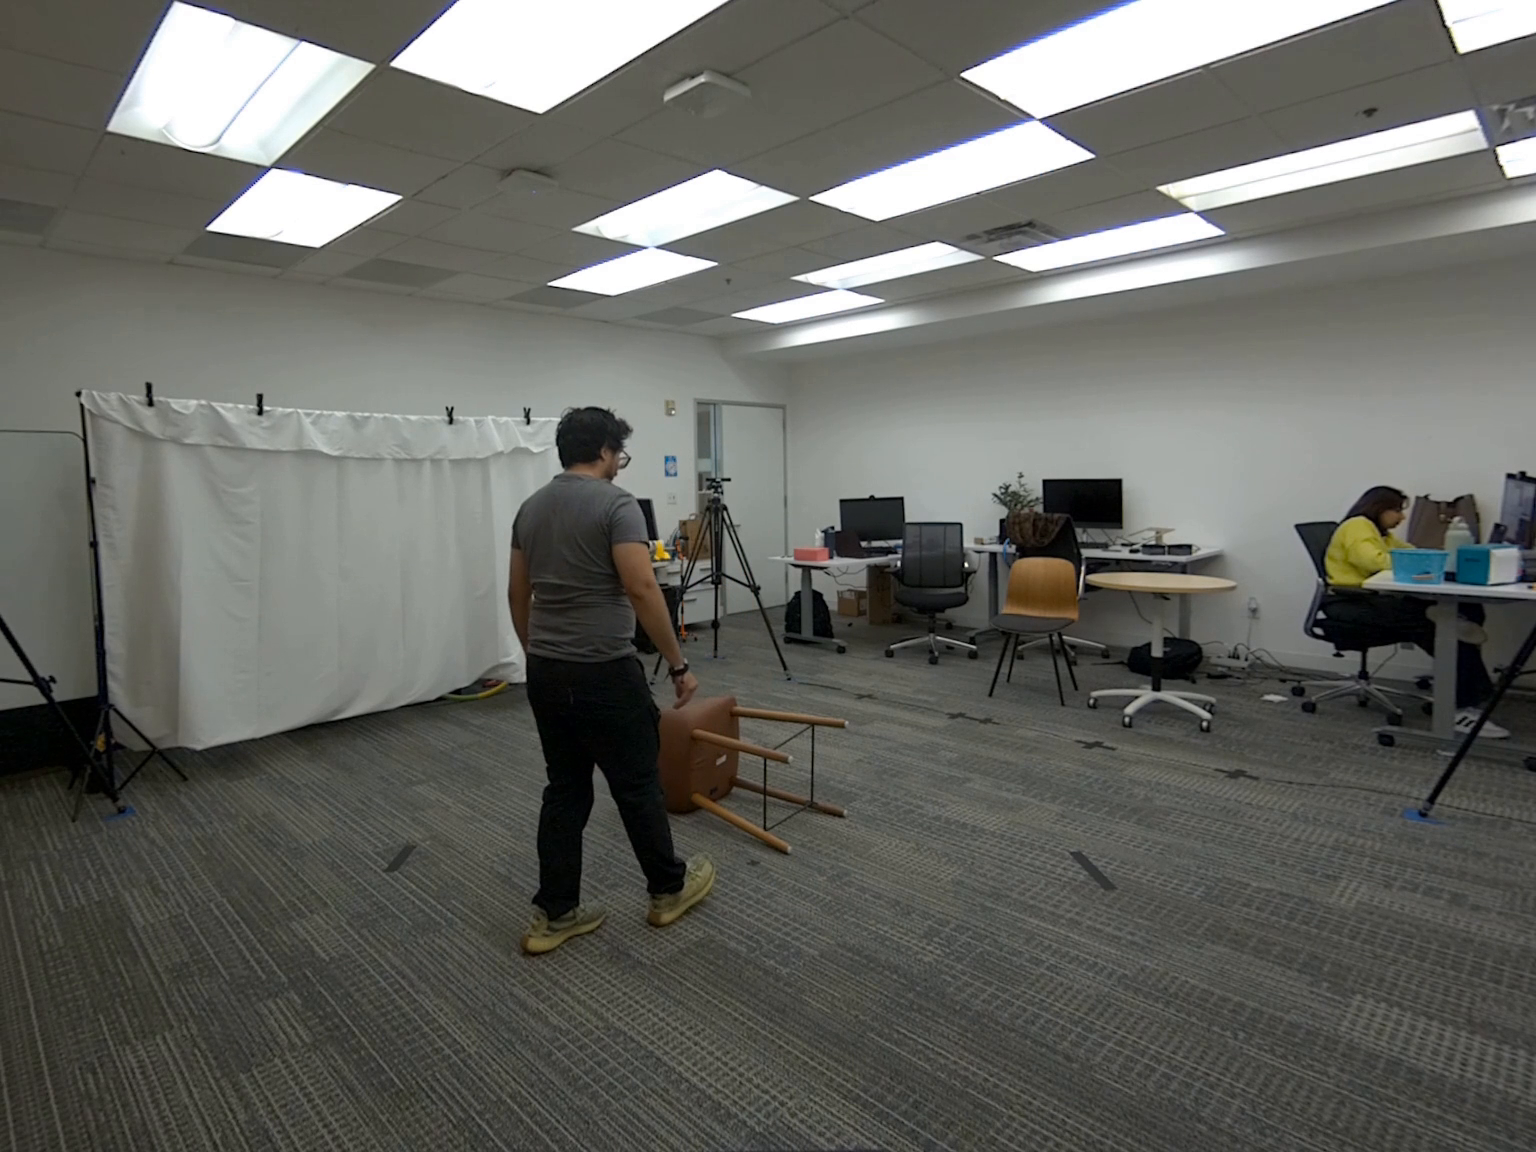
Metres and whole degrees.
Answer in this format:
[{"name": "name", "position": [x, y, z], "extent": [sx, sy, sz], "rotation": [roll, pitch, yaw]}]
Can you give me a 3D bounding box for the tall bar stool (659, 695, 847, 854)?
[{"name": "tall bar stool", "position": [-0.165, 0.777, 3.570], "extent": [0.916, 0.453, 0.457], "rotation": [6, 10, 33]}]
